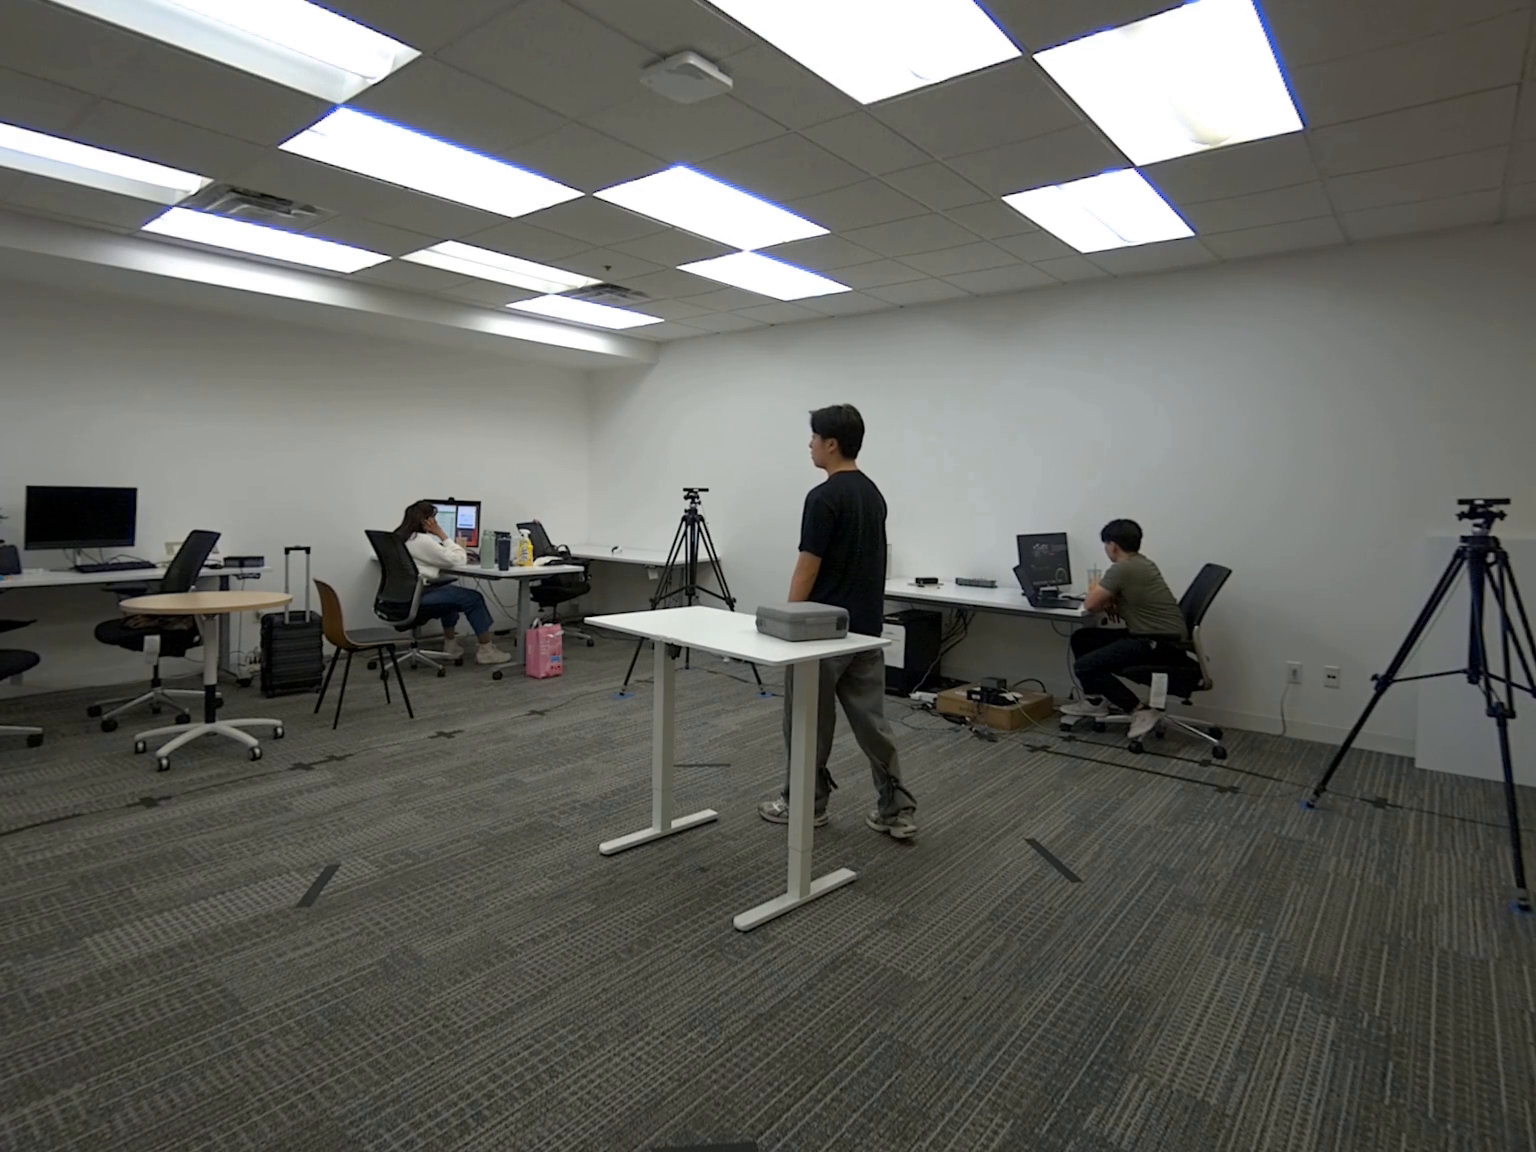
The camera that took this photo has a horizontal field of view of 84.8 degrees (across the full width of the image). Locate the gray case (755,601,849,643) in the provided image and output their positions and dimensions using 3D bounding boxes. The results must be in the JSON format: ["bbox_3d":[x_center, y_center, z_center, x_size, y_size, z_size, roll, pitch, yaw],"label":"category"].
[{"bbox_3d":[0.099,0.152,3.008,0.256,0.103,0.296,-2,5,-30],"label":"gray case"}]
